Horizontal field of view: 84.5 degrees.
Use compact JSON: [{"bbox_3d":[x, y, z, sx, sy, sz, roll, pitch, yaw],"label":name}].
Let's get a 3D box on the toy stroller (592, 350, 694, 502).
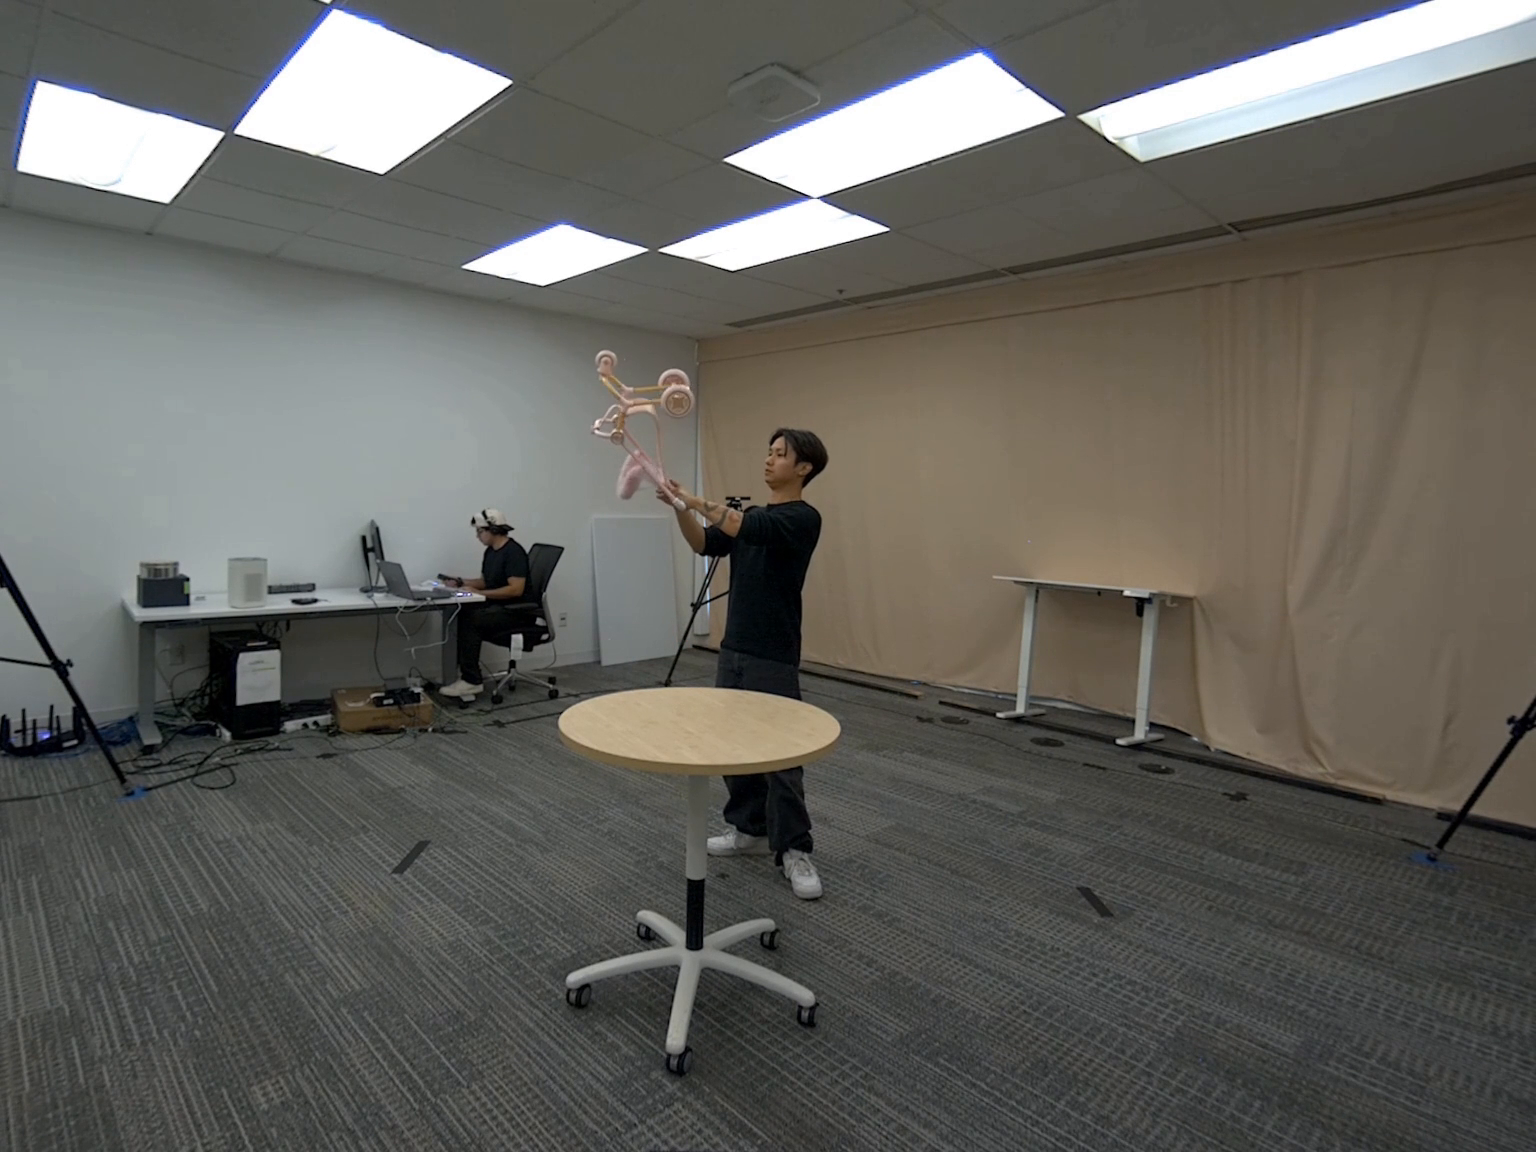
[{"bbox_3d":[-0.442,-0.486,2.871,0.337,0.527,0.288,2,25,-14],"label":"toy stroller"}]
